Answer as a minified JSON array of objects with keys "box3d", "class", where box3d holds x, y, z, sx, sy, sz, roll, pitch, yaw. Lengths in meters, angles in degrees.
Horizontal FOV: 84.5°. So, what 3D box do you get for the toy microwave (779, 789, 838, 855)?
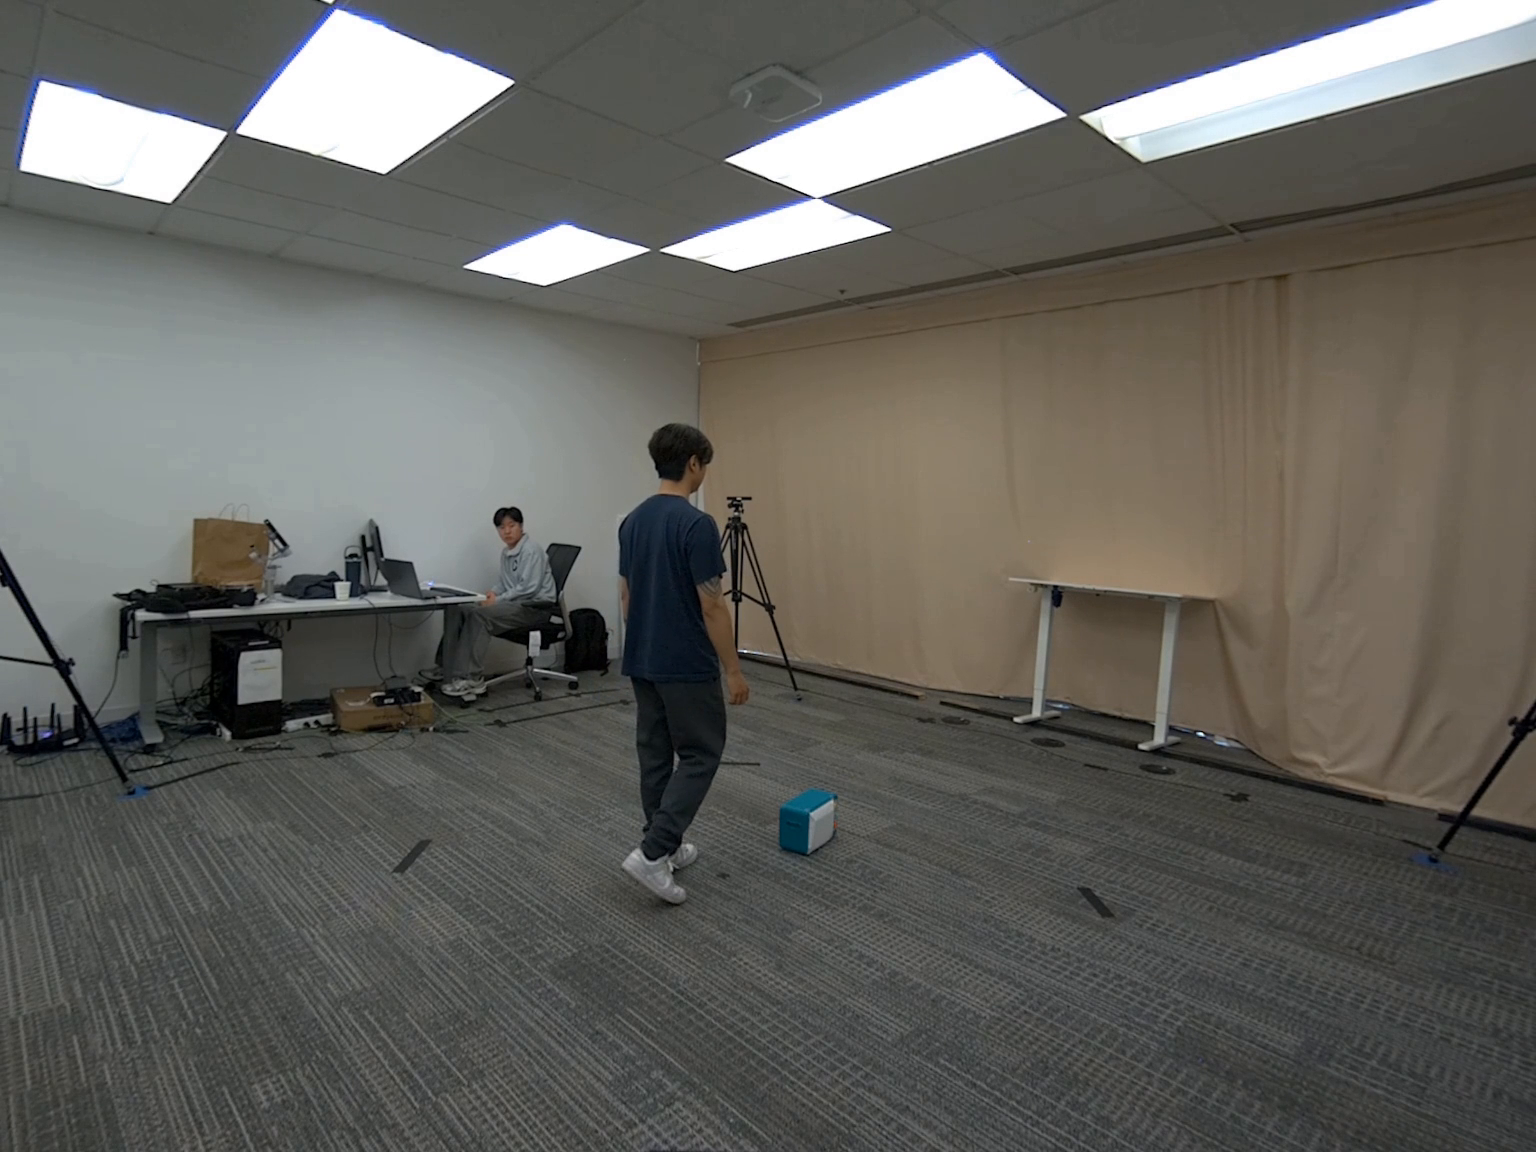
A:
[{"box3d":[0.164,0.993,3.415,0.156,0.184,0.280,4,4,31],"class":"toy microwave"}]
